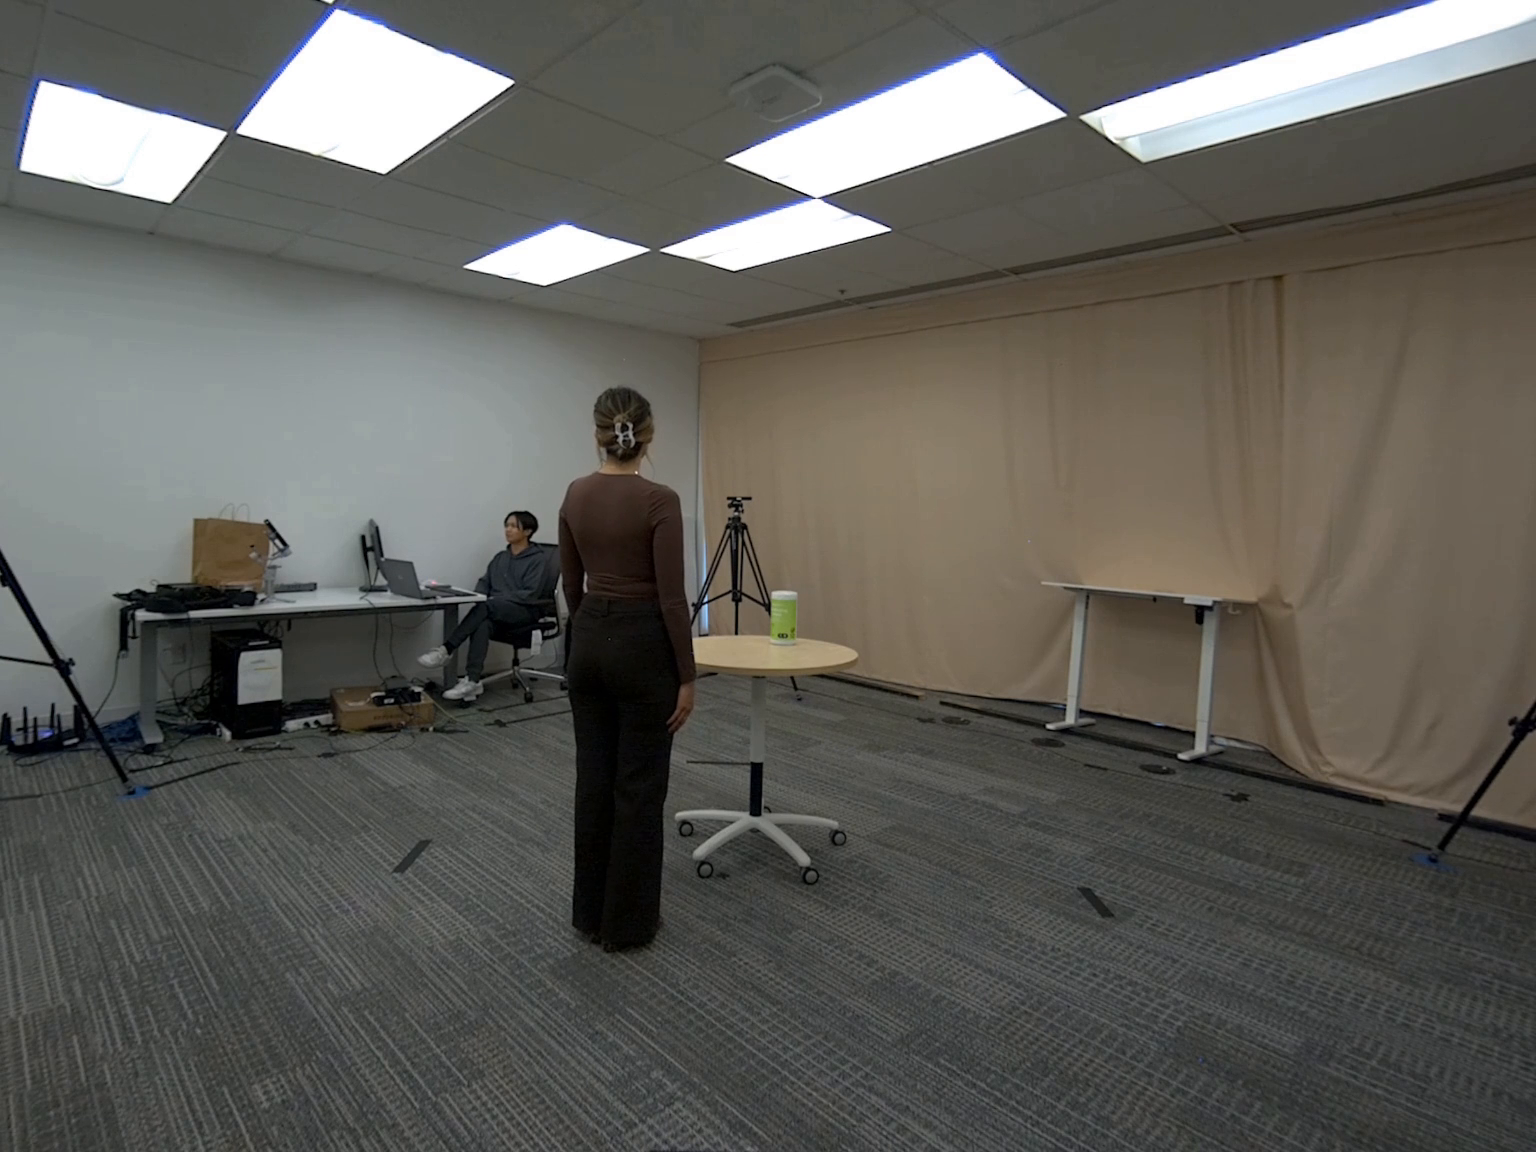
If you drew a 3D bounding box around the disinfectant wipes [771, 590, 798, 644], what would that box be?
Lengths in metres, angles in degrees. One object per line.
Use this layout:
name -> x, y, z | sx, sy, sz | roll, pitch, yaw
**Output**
disinfectant wipes -> 0.061, 0.173, 3.496 | 0.118, 0.217, 0.118 | 3, 3, -2
